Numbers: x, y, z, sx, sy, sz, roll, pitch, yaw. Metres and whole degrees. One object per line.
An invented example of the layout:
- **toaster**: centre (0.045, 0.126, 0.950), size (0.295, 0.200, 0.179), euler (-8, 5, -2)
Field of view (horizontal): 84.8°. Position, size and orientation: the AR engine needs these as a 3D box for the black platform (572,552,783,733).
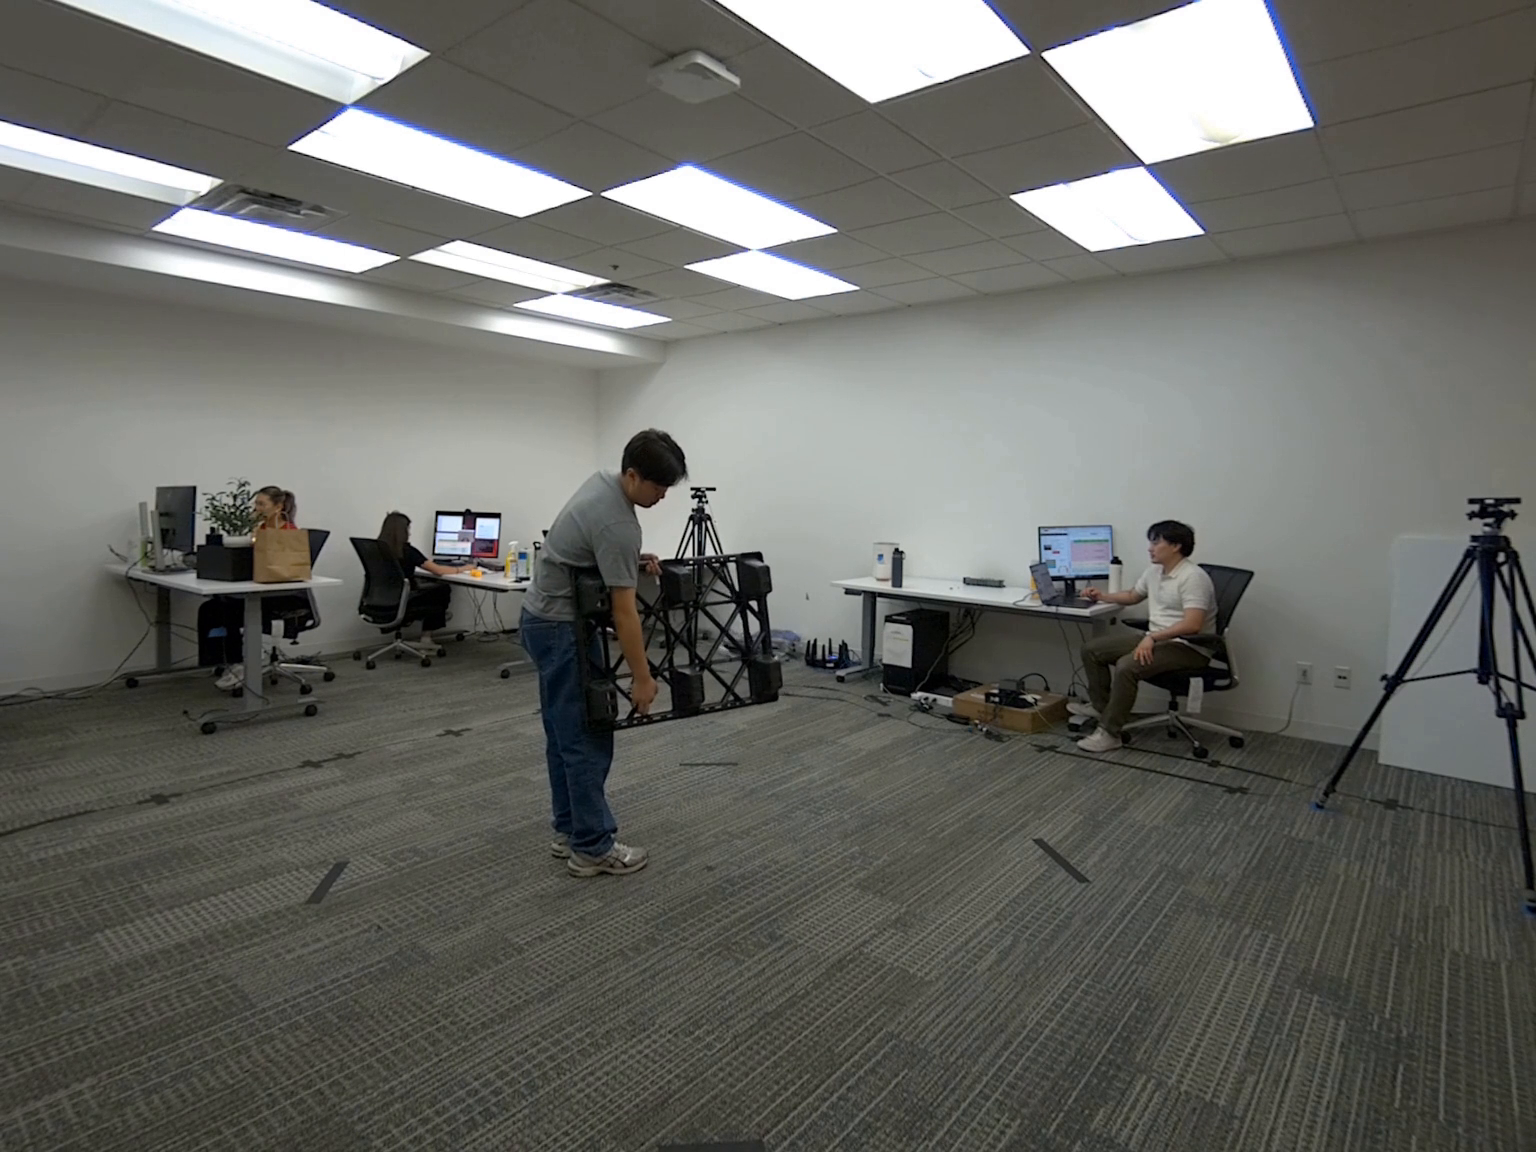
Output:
- **black platform**: centre (-0.306, 0.227, 3.171), size (0.786, 0.607, 0.146), euler (-6, -4, -28)
